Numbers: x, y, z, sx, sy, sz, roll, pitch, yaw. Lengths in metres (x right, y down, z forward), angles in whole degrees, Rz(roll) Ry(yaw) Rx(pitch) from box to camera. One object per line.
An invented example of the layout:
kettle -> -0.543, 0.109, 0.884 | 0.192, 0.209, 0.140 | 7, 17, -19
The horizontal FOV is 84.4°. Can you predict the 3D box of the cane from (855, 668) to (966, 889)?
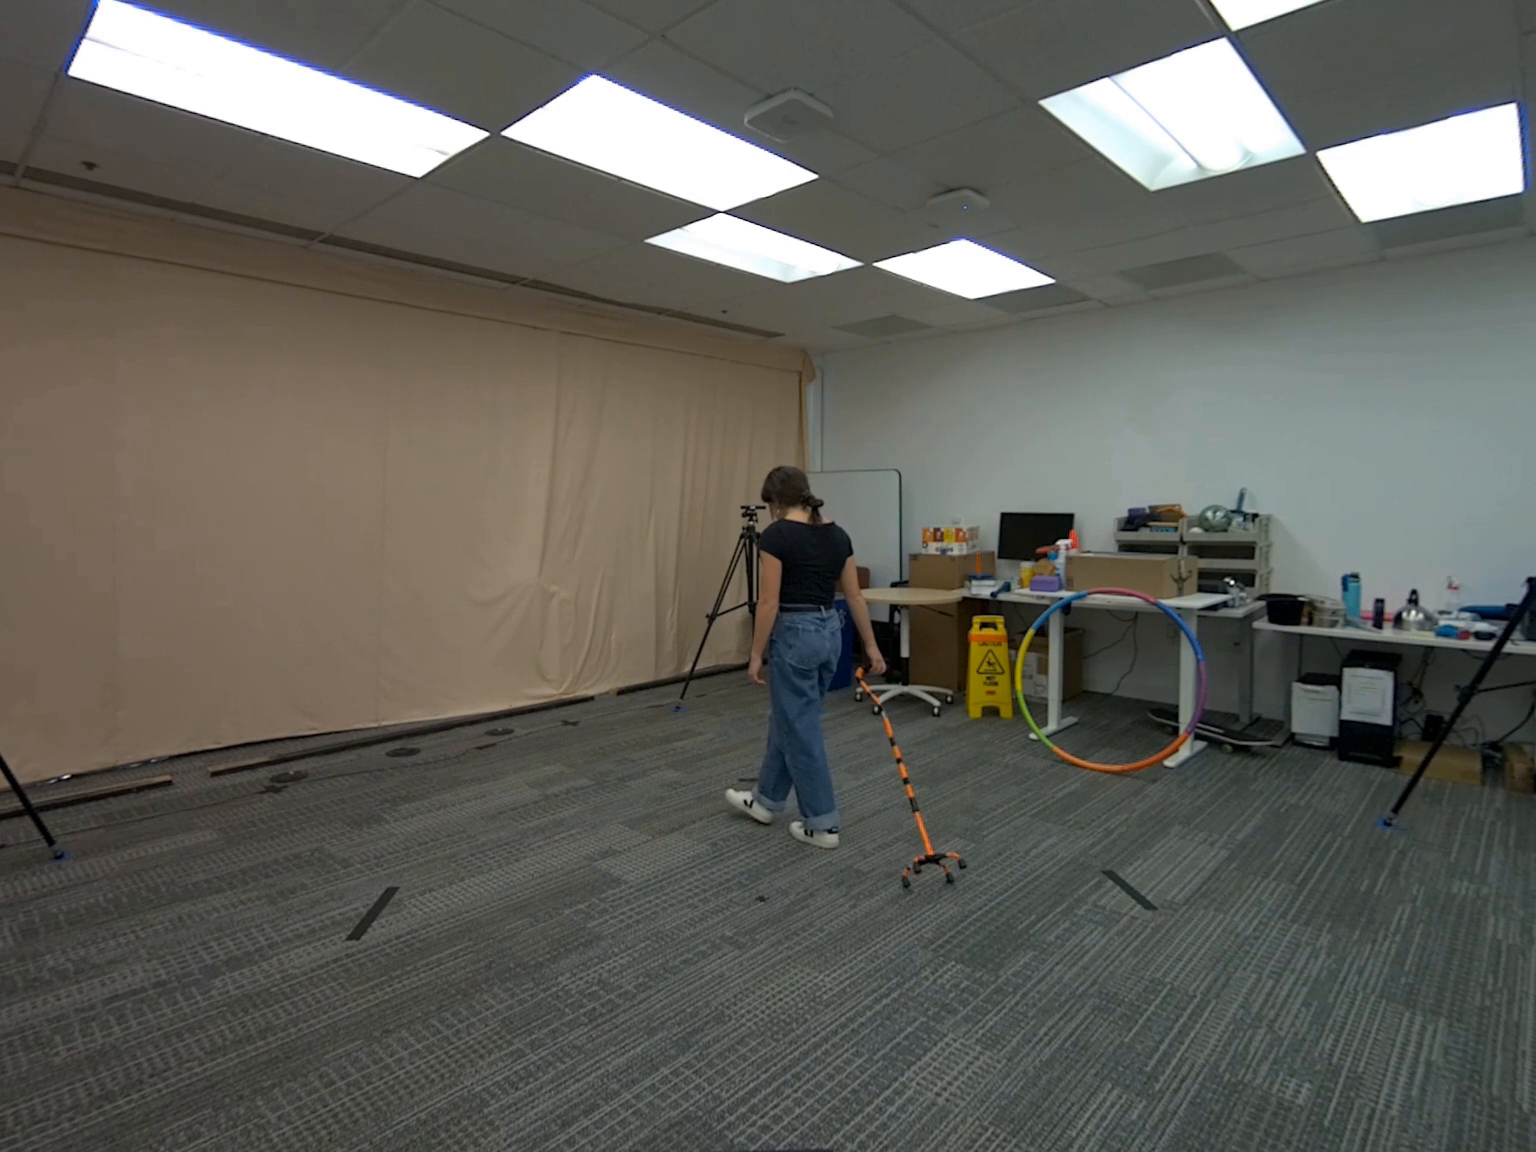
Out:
cane -> 0.530, 0.744, 3.329 | 0.204, 0.150, 0.930 | -1, 48, -14
